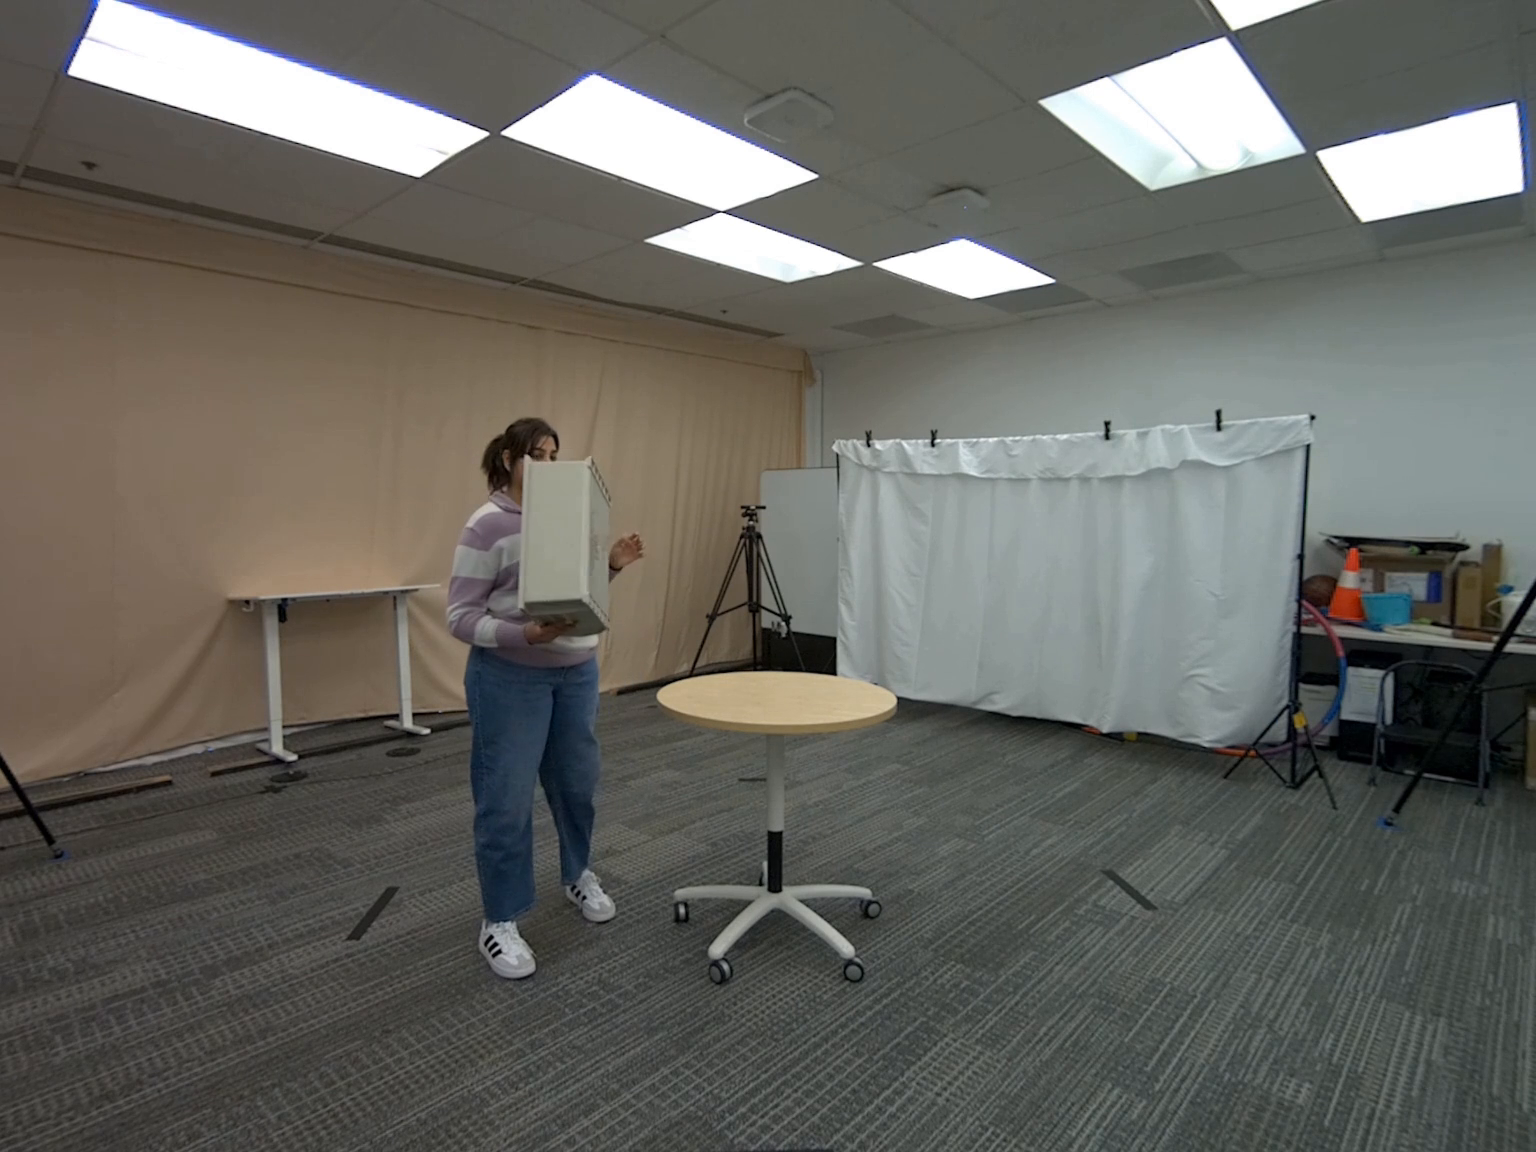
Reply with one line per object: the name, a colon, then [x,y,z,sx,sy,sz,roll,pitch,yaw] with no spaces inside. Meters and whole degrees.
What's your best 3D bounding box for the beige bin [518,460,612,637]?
beige bin: [-0.553,-0.069,2.362,0.189,0.427,0.373,-4,-17,-1]
